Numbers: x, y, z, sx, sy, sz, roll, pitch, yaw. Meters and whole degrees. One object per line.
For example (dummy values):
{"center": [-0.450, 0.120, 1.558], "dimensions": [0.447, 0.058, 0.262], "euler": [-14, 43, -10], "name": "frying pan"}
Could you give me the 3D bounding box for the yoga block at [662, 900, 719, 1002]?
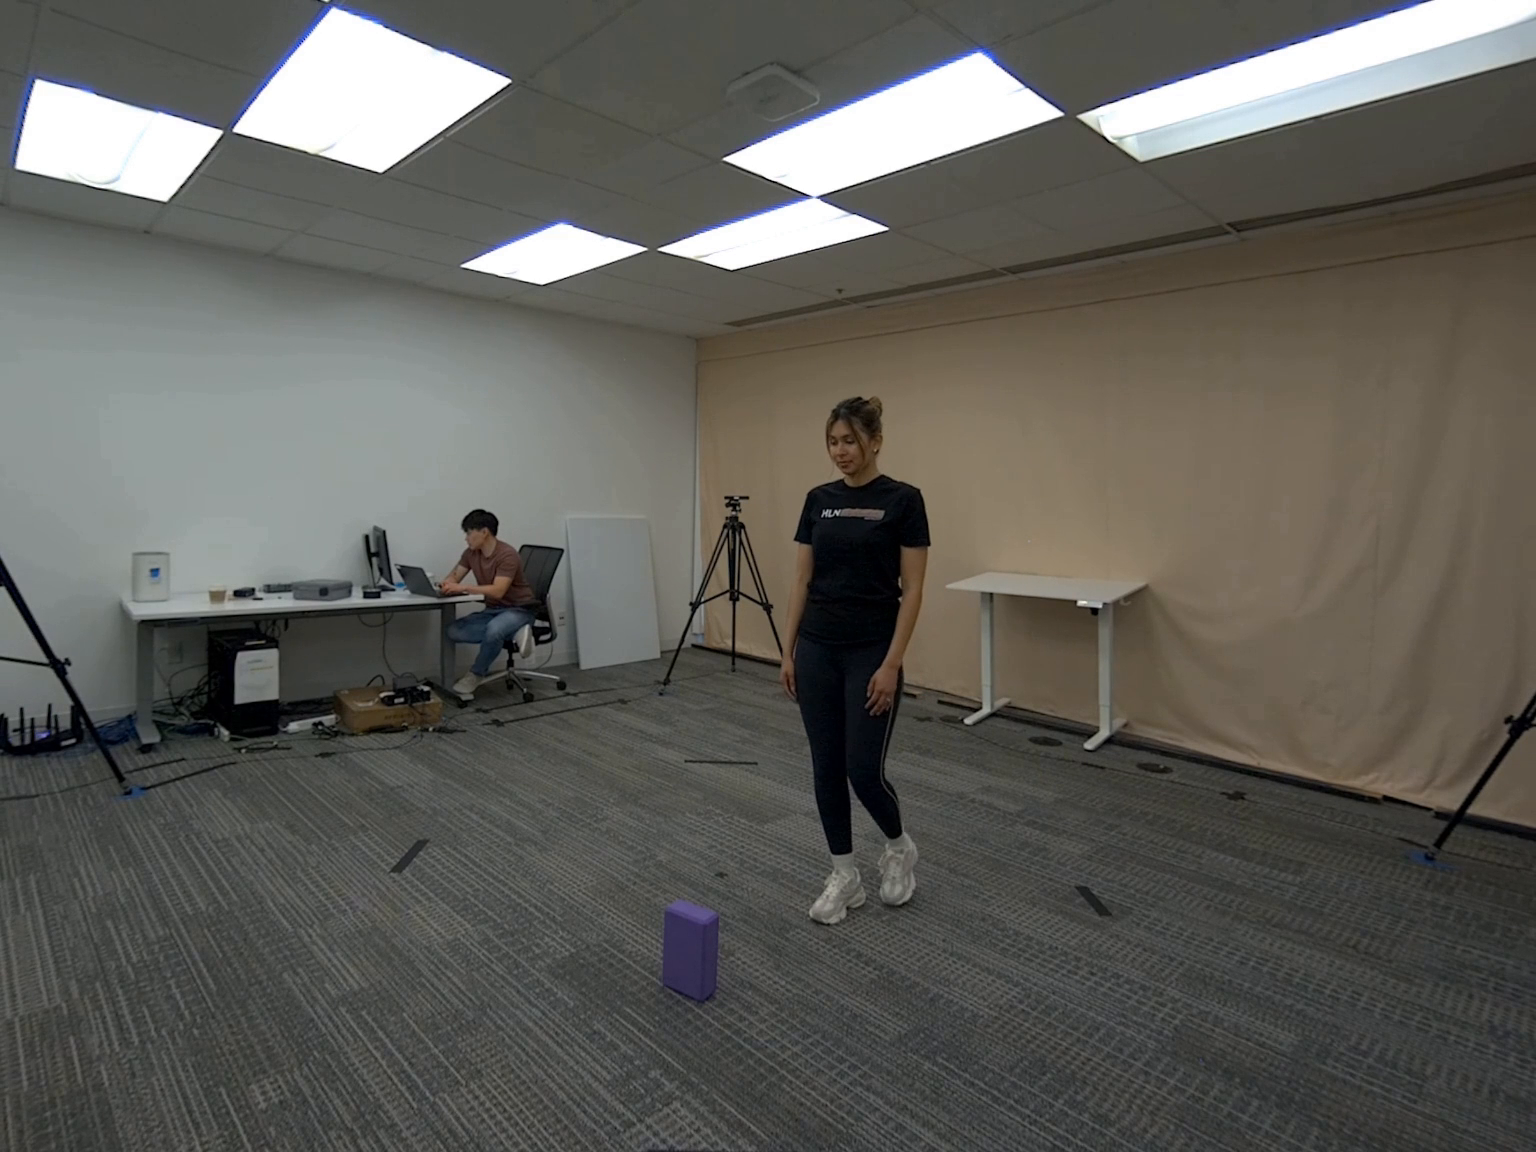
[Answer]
{"center": [-0.224, 1.053, 2.368], "dimensions": [0.152, 0.229, 0.075], "euler": [3, 2, 31], "name": "yoga block"}
